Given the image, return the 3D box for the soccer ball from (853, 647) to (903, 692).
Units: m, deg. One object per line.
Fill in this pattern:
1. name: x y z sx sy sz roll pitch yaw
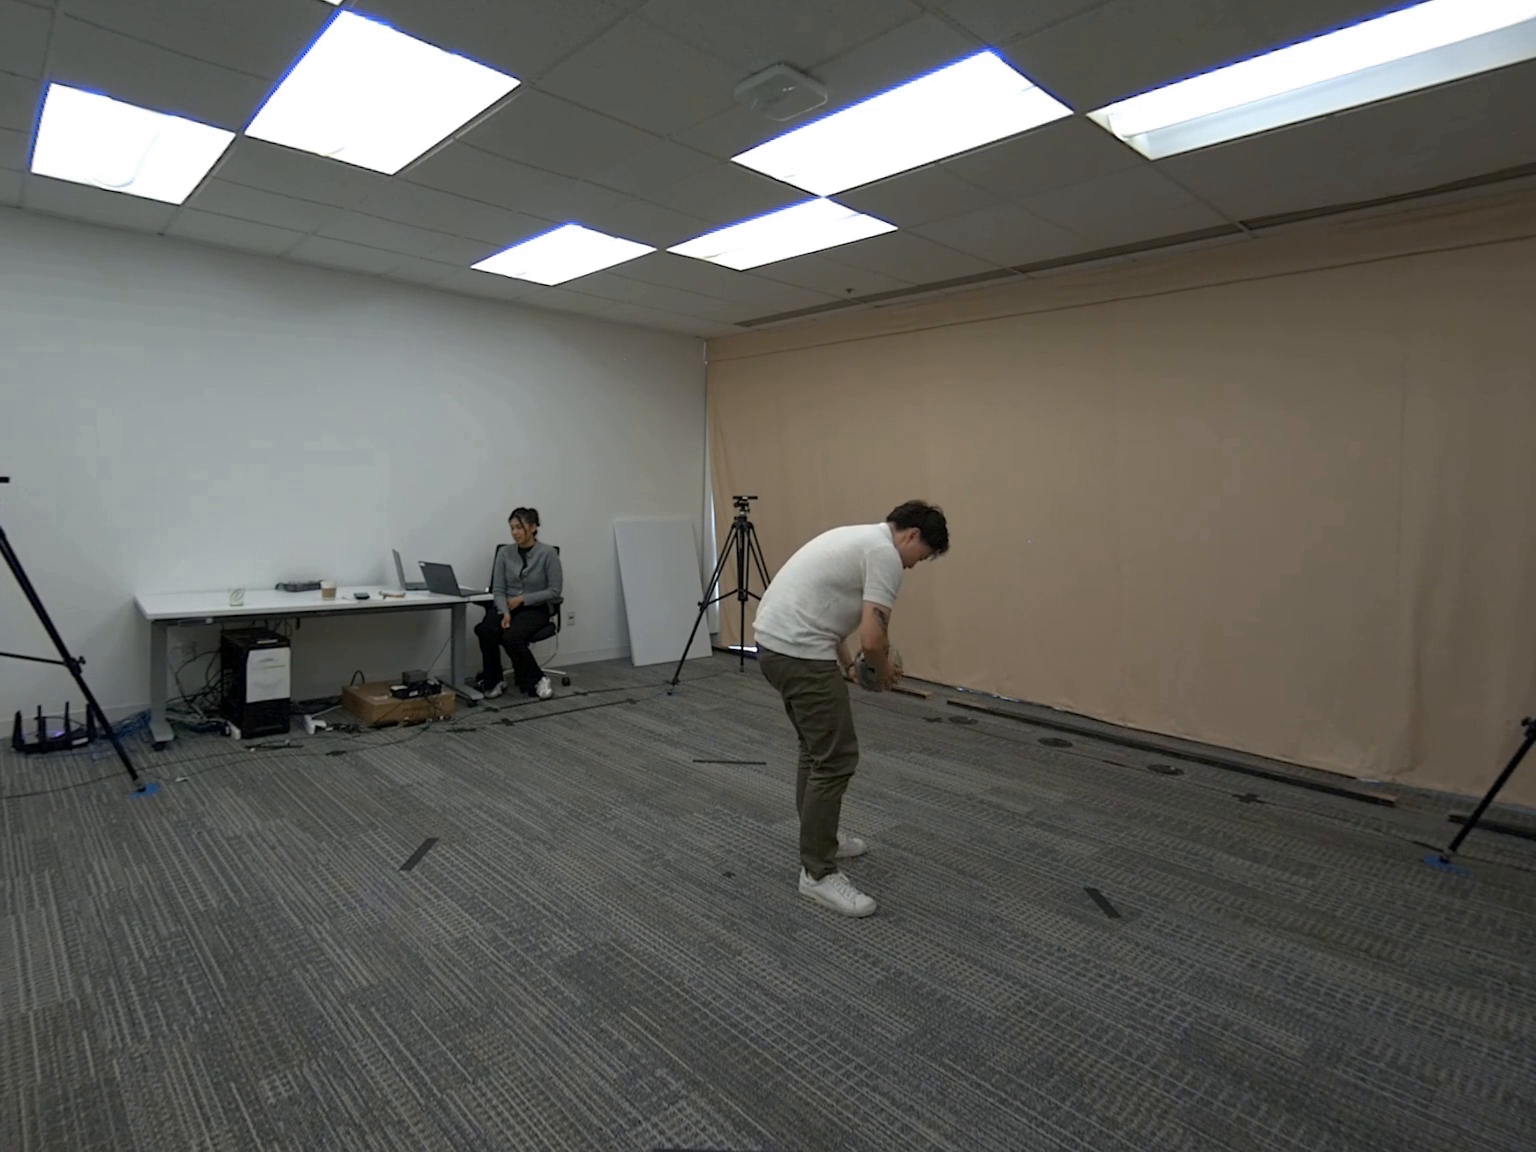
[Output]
1. soccer ball: 0.410 0.347 3.253 0.187 0.187 0.188 1 4 -1
